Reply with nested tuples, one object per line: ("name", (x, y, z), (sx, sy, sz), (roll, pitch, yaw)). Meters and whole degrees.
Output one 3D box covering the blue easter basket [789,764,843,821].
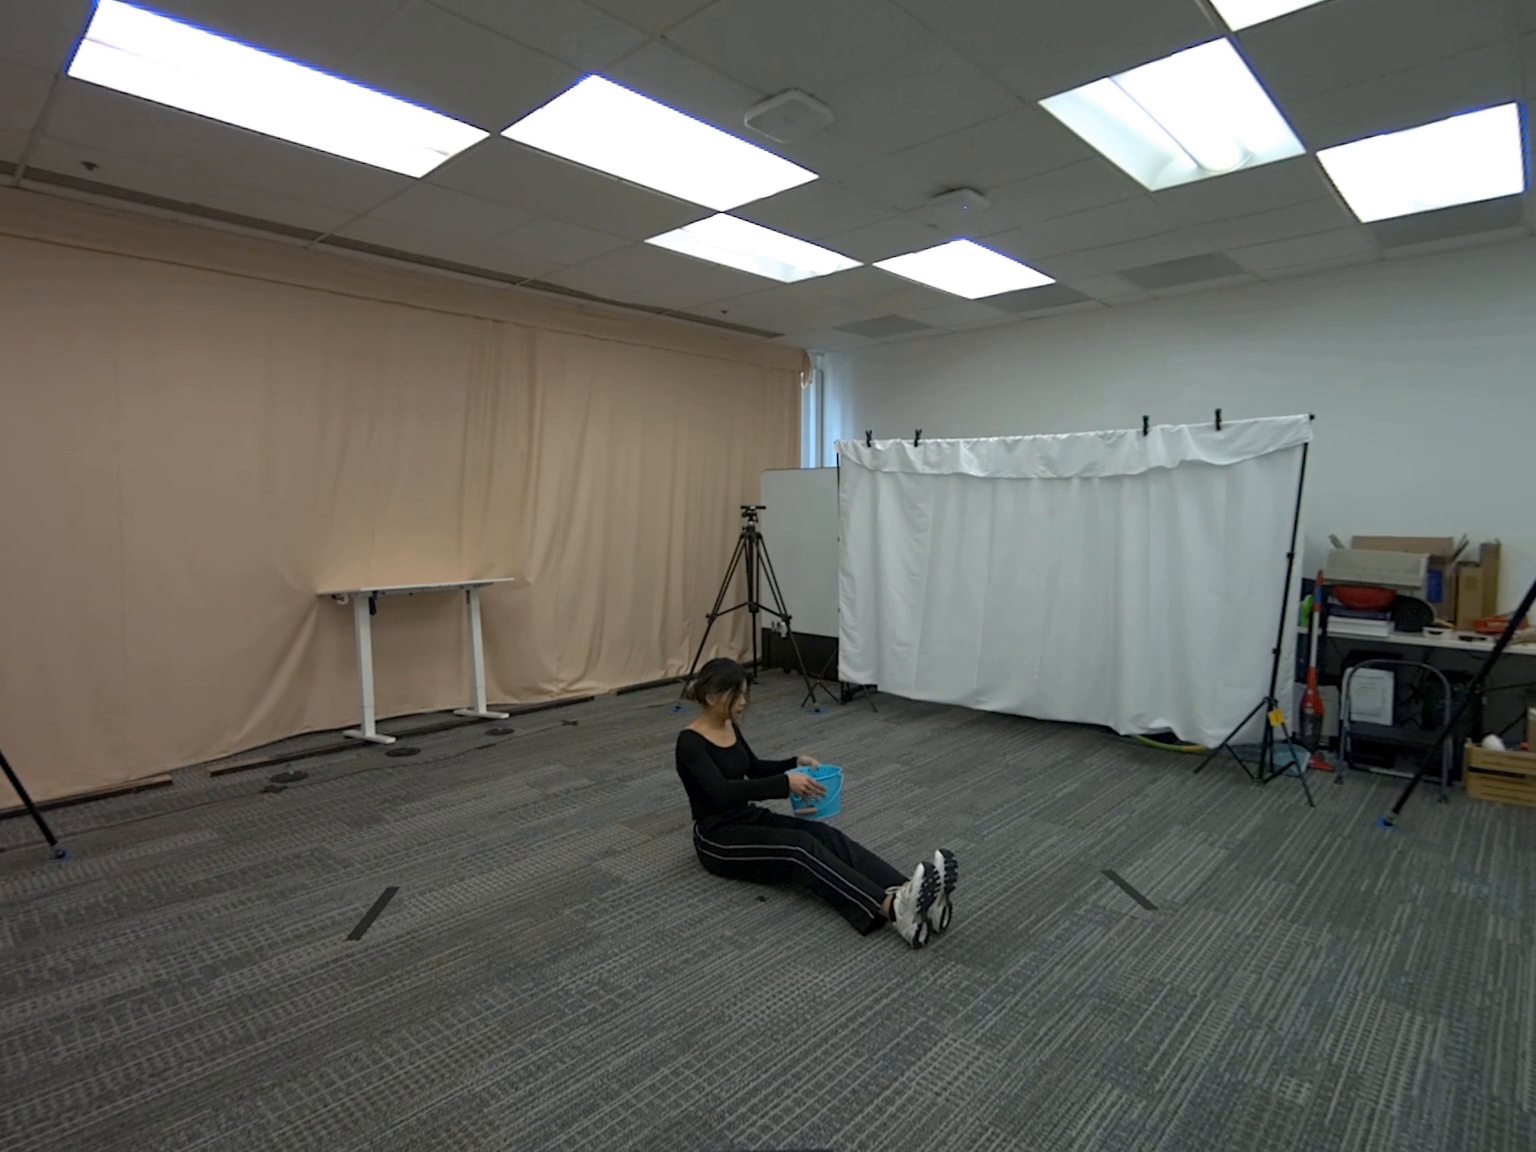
("blue easter basket", (0.177, 0.836, 3.239), (0.243, 0.156, 0.243), (-5, -1, -2))
